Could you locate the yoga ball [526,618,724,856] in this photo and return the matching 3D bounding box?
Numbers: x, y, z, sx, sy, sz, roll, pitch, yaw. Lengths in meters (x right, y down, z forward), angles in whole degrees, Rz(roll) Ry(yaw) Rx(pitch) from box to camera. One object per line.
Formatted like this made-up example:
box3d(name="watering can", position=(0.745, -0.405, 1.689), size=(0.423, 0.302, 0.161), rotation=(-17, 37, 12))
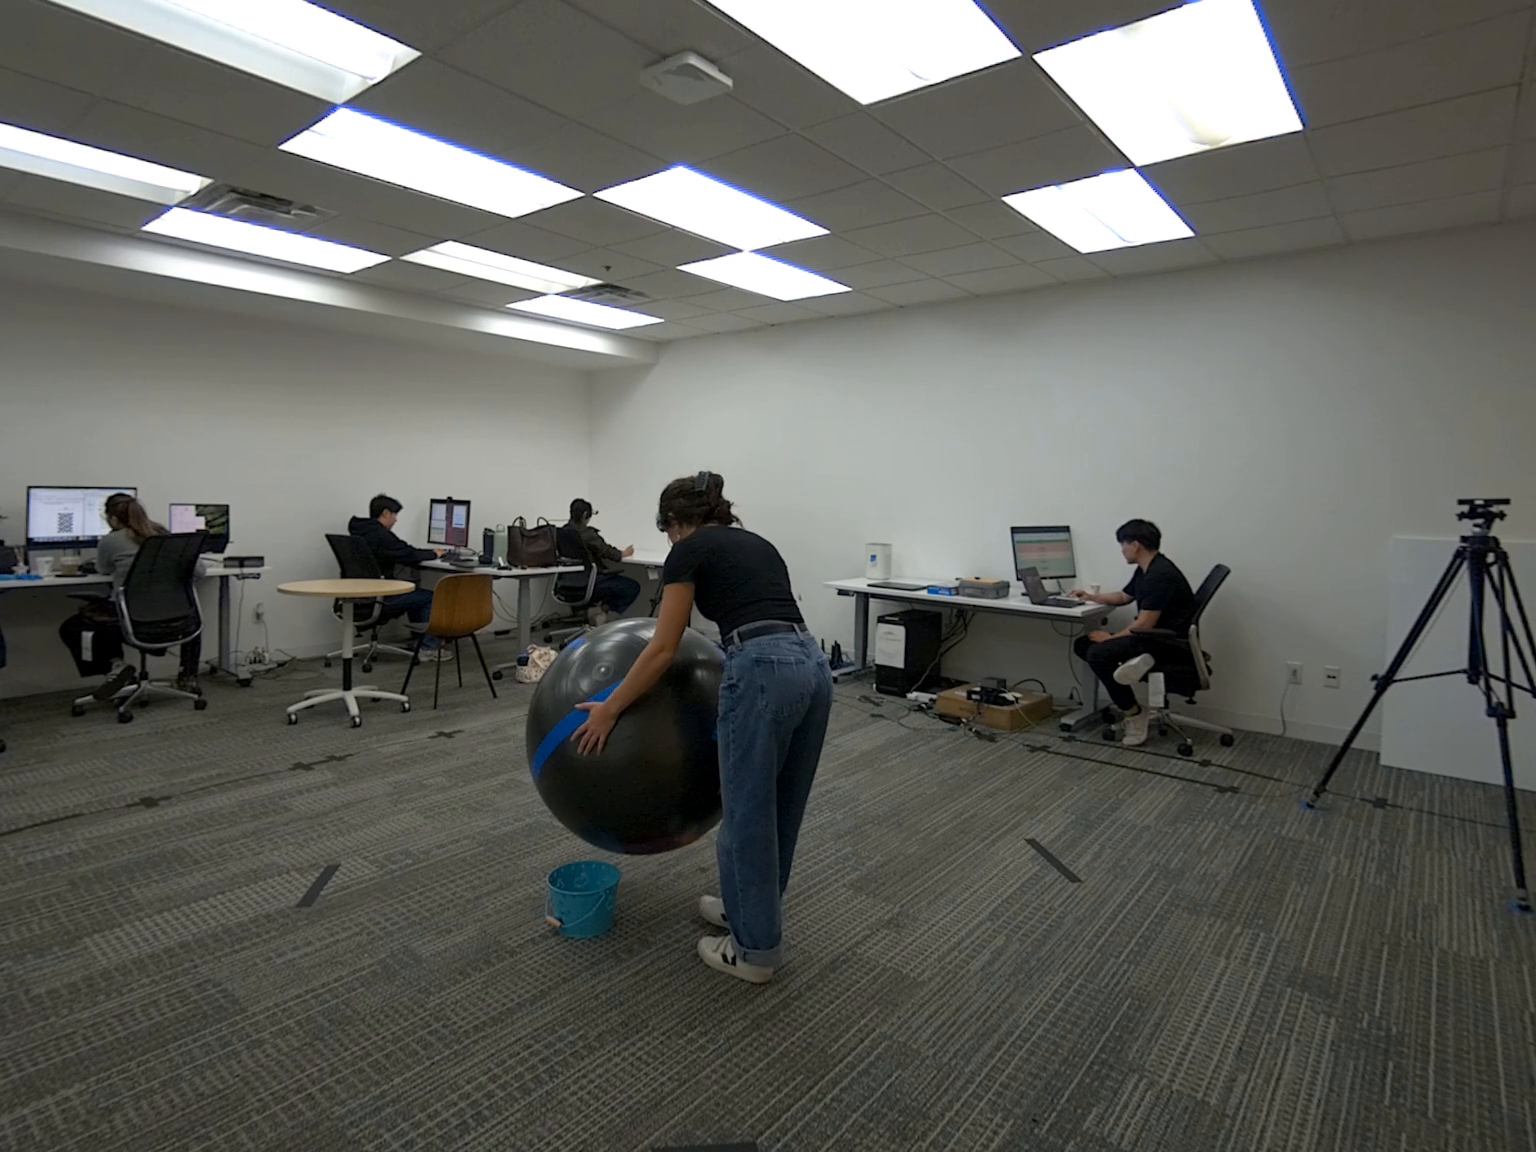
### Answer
box3d(name="yoga ball", position=(-0.423, 0.527, 2.816), size=(0.757, 0.756, 0.762), rotation=(1, 4, -2))
